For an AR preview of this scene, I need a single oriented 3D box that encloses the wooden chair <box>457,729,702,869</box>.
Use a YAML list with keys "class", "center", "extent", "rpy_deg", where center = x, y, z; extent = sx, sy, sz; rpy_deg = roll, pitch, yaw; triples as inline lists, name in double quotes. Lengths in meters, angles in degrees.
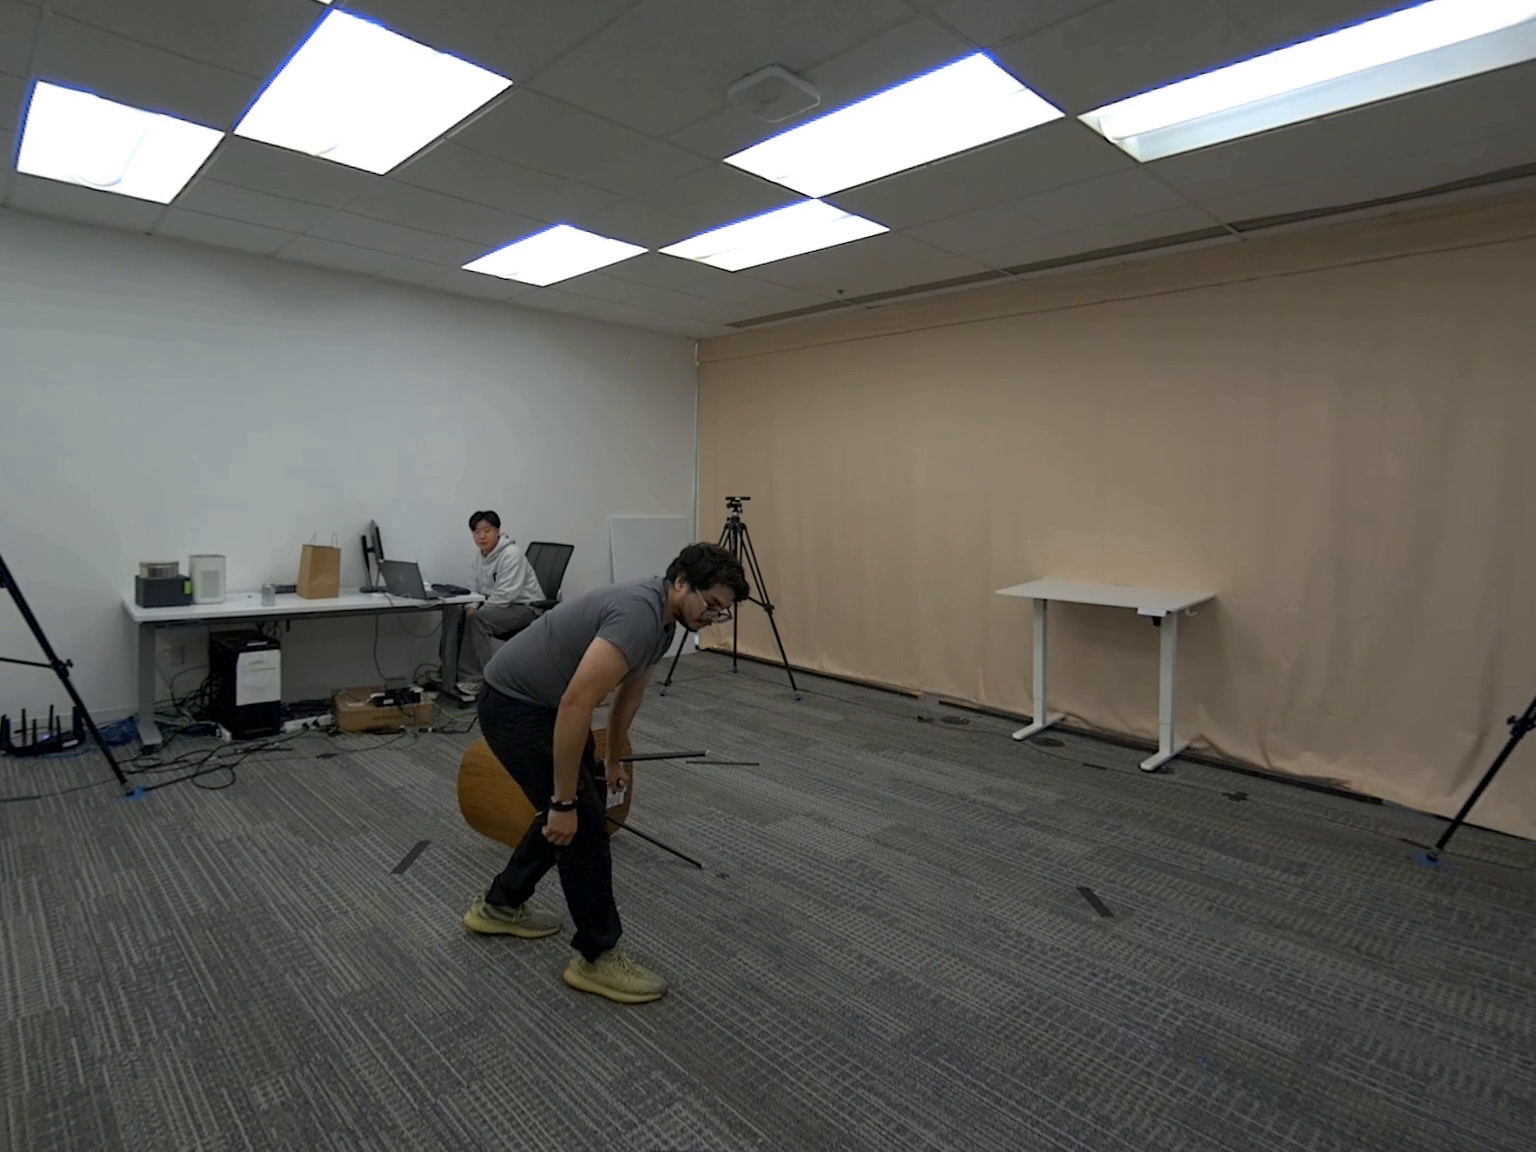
- class: "wooden chair"
  center: [-0.710, 0.855, 3.237]
  extent: [0.898, 0.476, 0.513]
  rpy_deg: [6, 7, 33]
